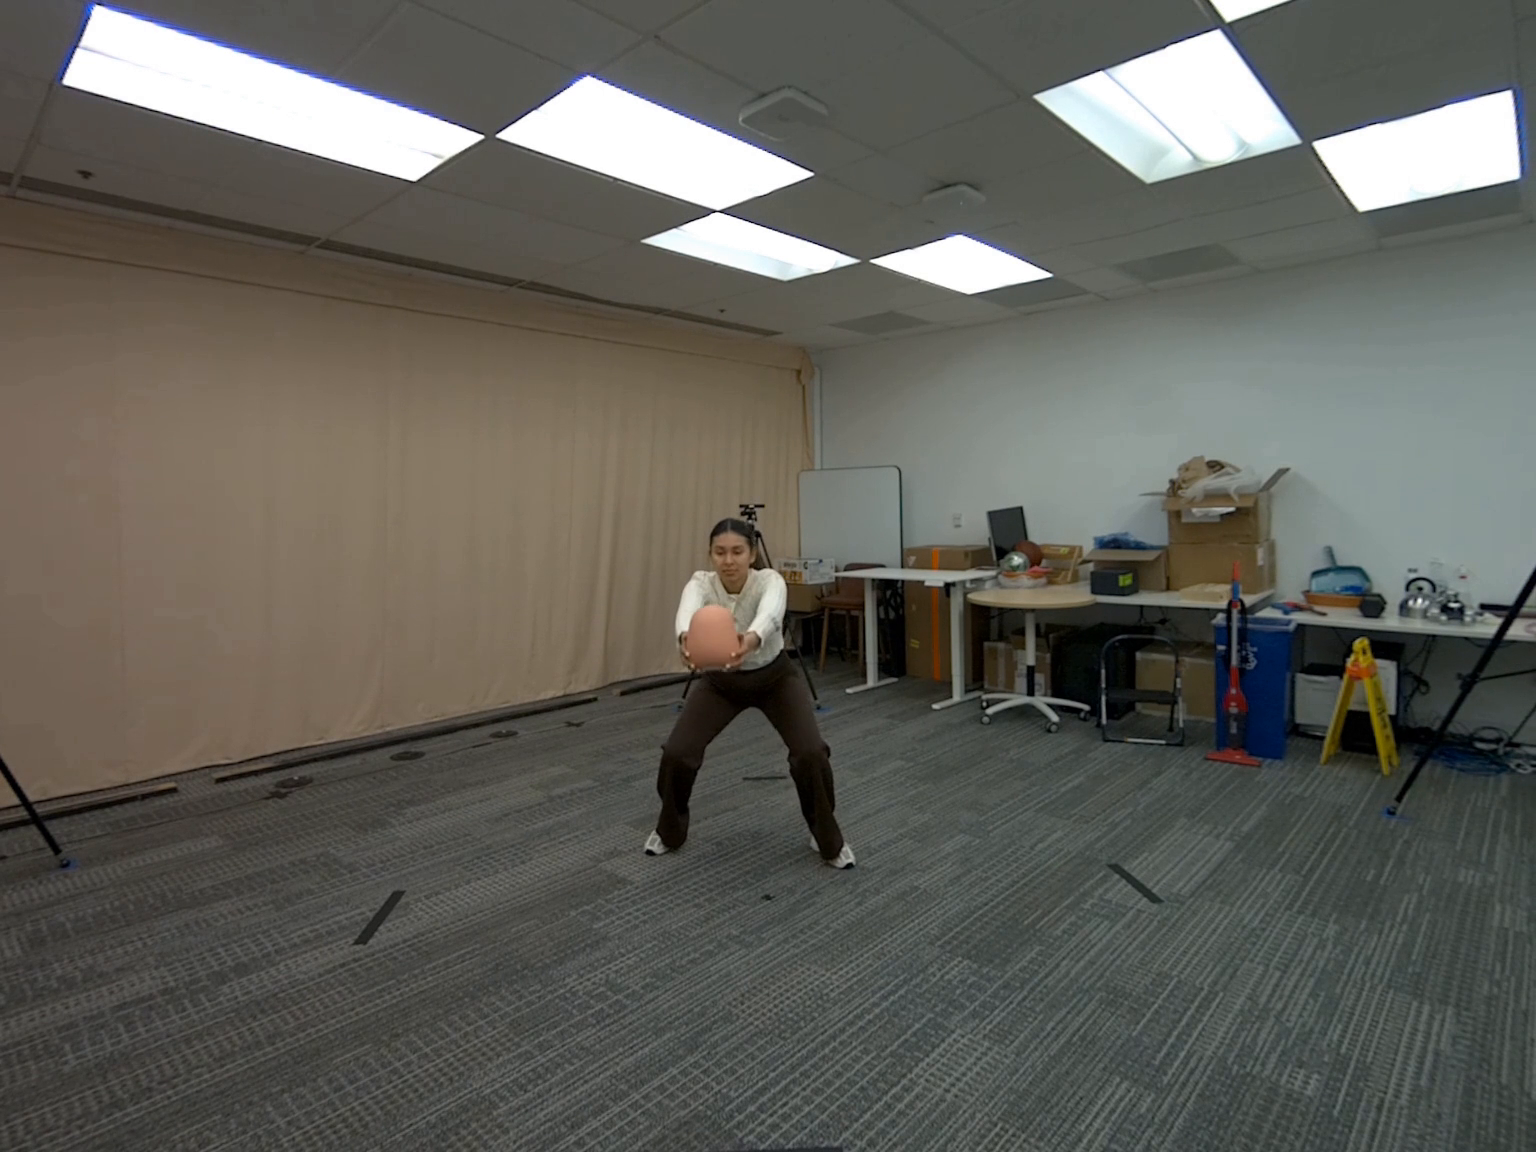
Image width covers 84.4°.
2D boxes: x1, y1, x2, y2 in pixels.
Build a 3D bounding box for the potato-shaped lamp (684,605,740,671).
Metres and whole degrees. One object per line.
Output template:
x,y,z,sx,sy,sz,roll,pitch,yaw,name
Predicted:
-0.171,0.170,2.601,0.165,0.200,0.169,17,-24,-41,potato-shaped lamp
